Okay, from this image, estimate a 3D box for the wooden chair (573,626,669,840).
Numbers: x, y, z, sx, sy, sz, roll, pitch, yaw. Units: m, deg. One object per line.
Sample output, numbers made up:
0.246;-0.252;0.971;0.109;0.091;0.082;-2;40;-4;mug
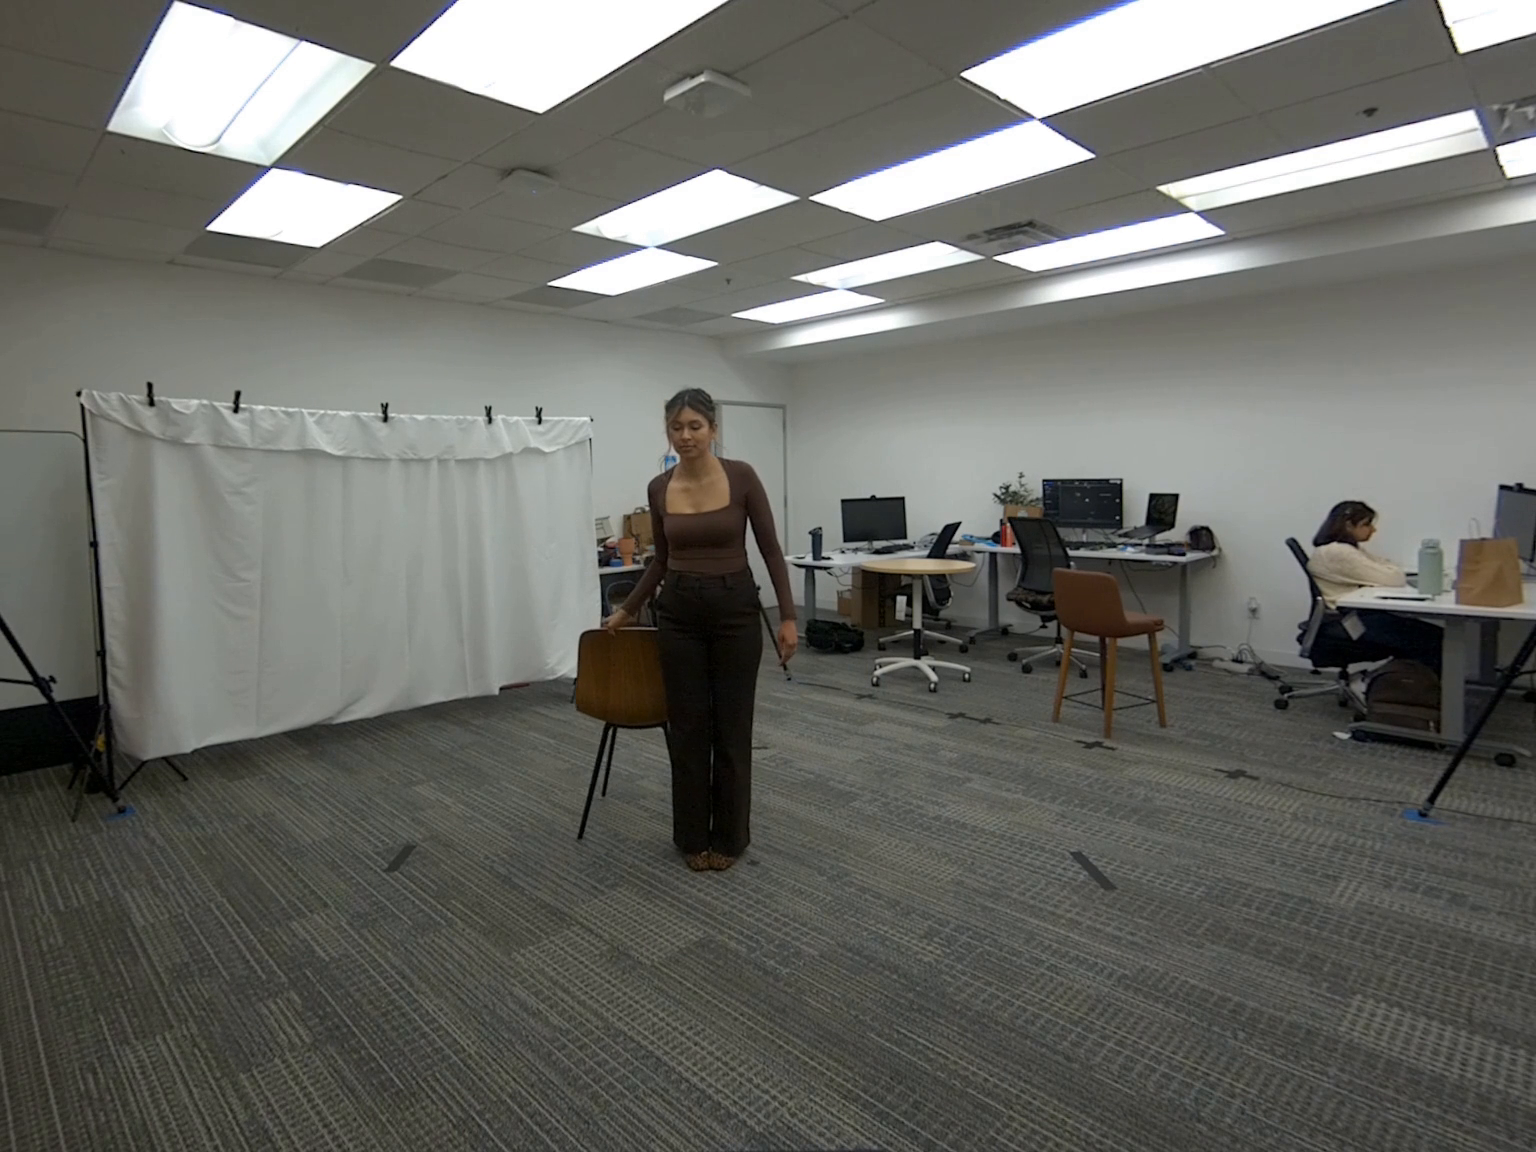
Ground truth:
-0.525;0.576;3.504;0.480;0.870;0.525;-1;9;3;wooden chair
